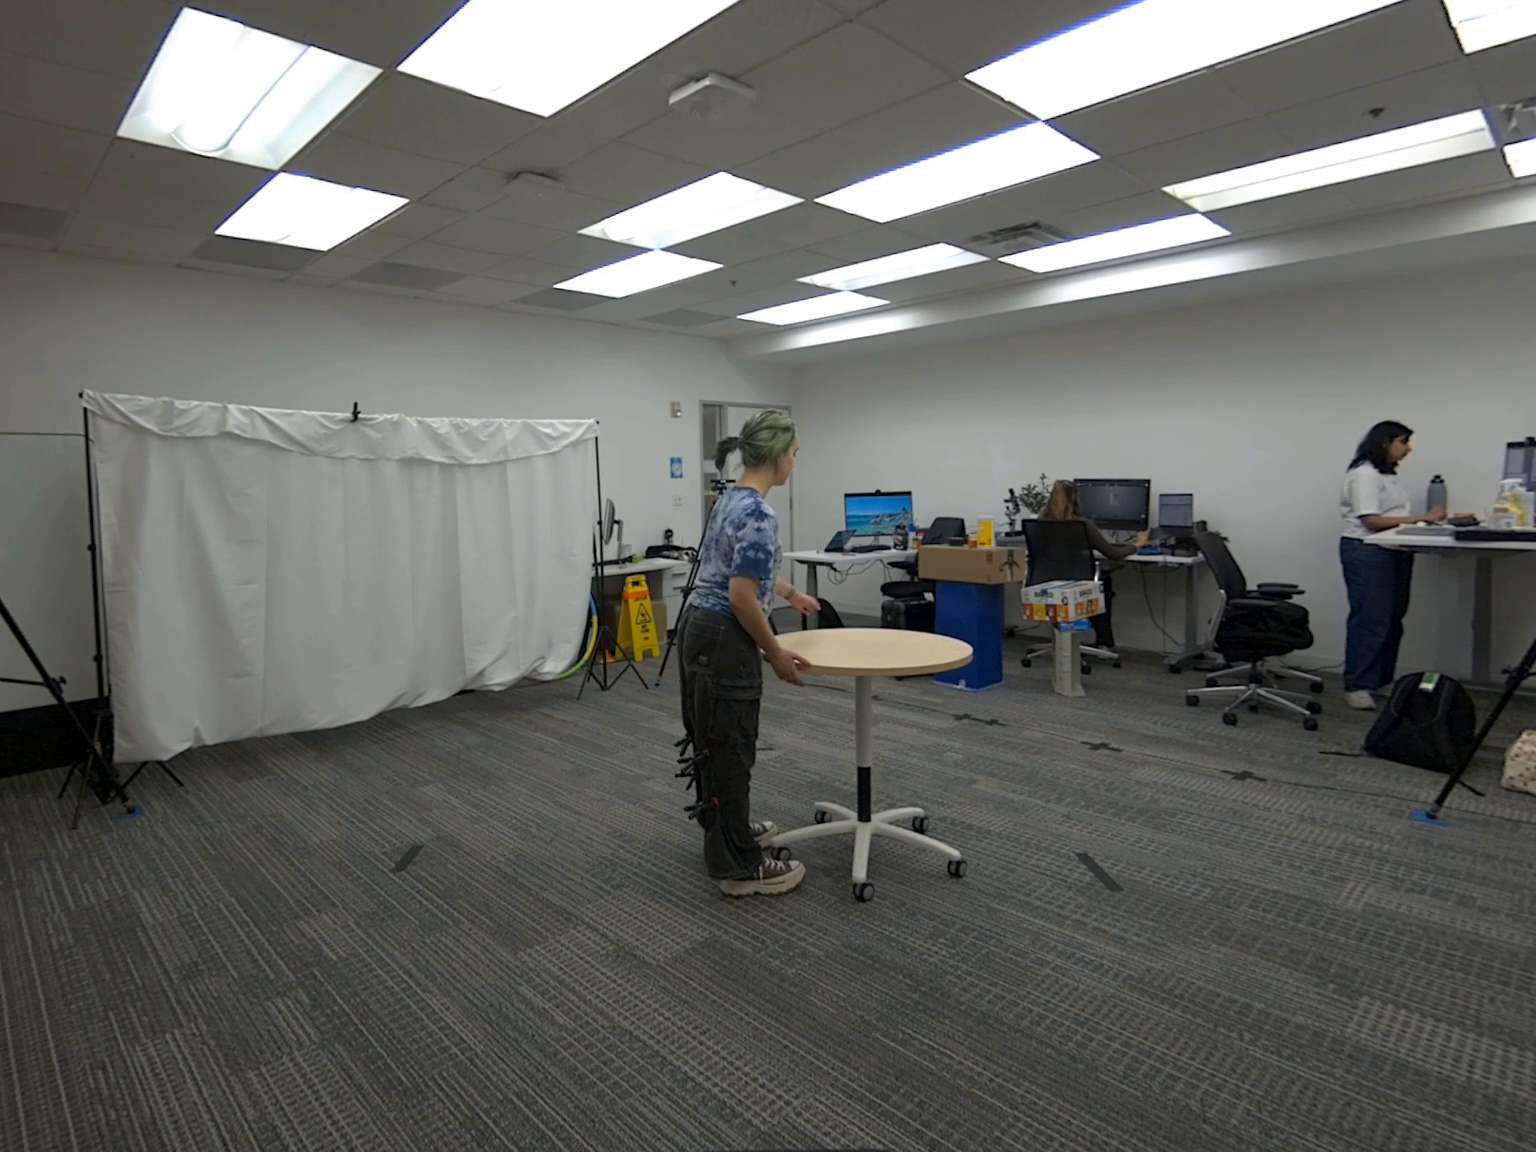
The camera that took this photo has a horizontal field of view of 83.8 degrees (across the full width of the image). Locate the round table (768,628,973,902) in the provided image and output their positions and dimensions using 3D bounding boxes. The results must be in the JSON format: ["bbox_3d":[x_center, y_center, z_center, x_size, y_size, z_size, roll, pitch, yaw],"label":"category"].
[{"bbox_3d":[0.358,0.648,3.131,0.763,0.791,0.767,-1,4,-2],"label":"round table"}]
